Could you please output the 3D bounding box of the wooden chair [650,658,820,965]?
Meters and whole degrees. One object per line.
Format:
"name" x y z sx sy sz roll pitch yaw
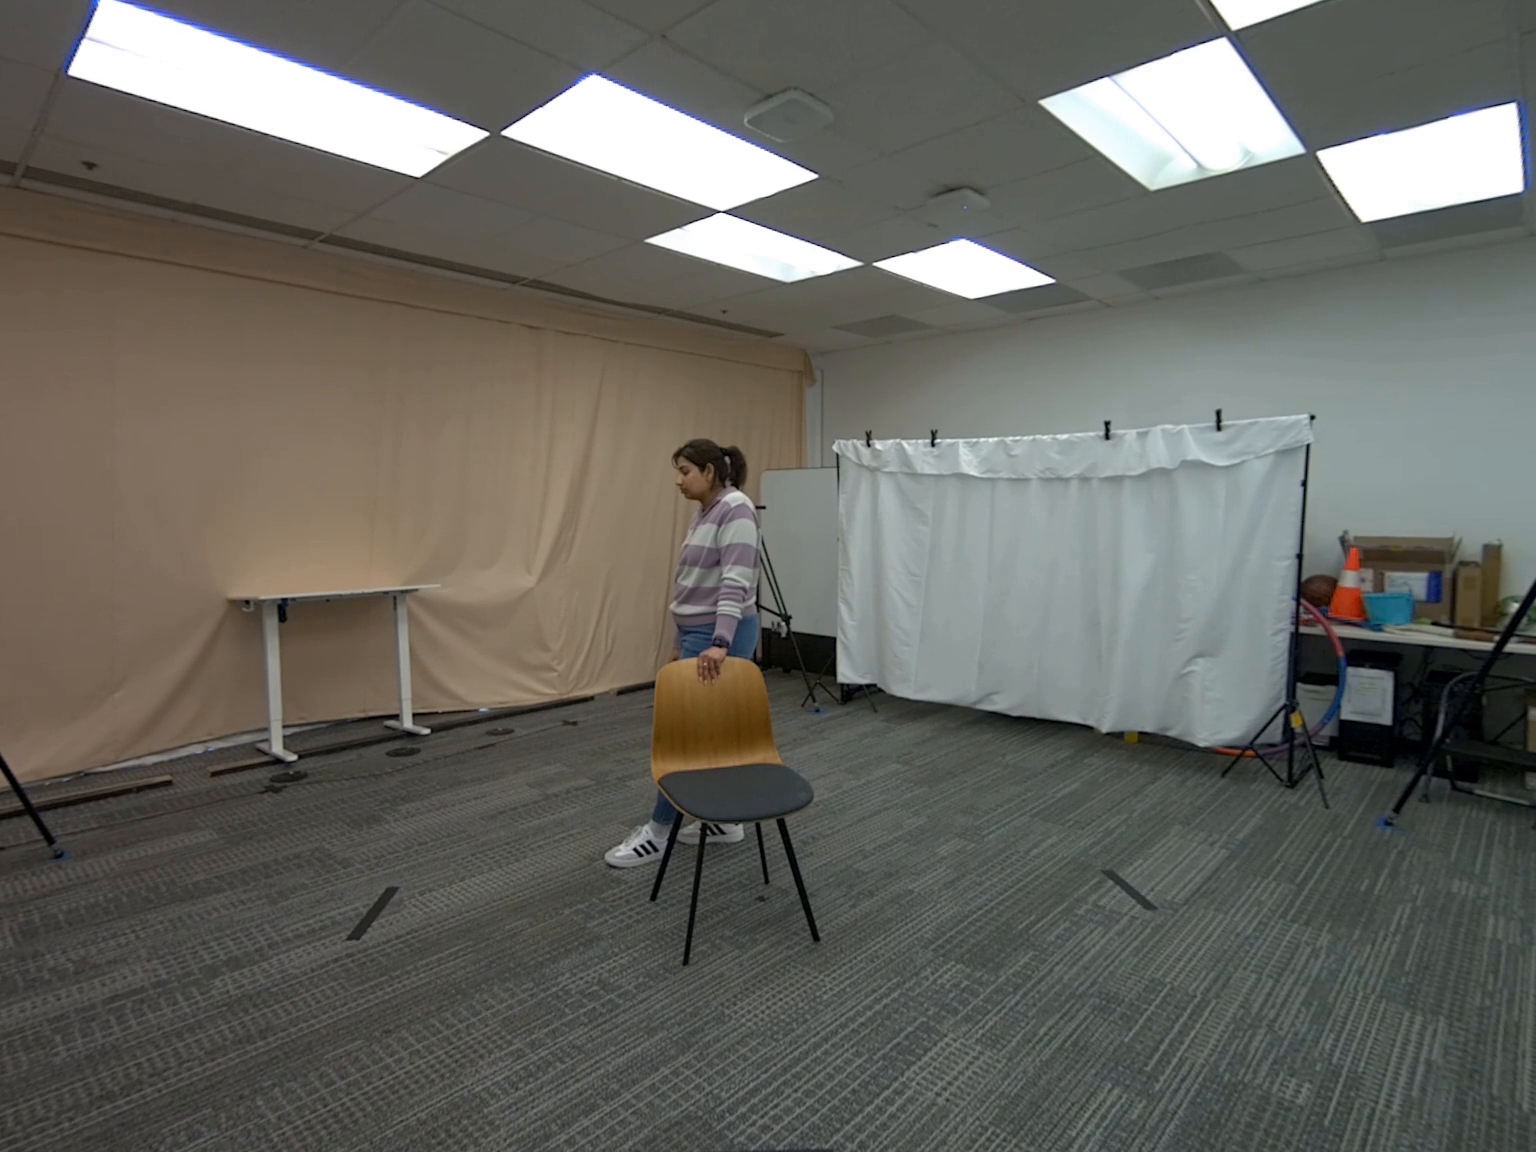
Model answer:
"wooden chair" -0.118 0.732 2.792 0.469 0.878 0.533 -1 -1 -20
